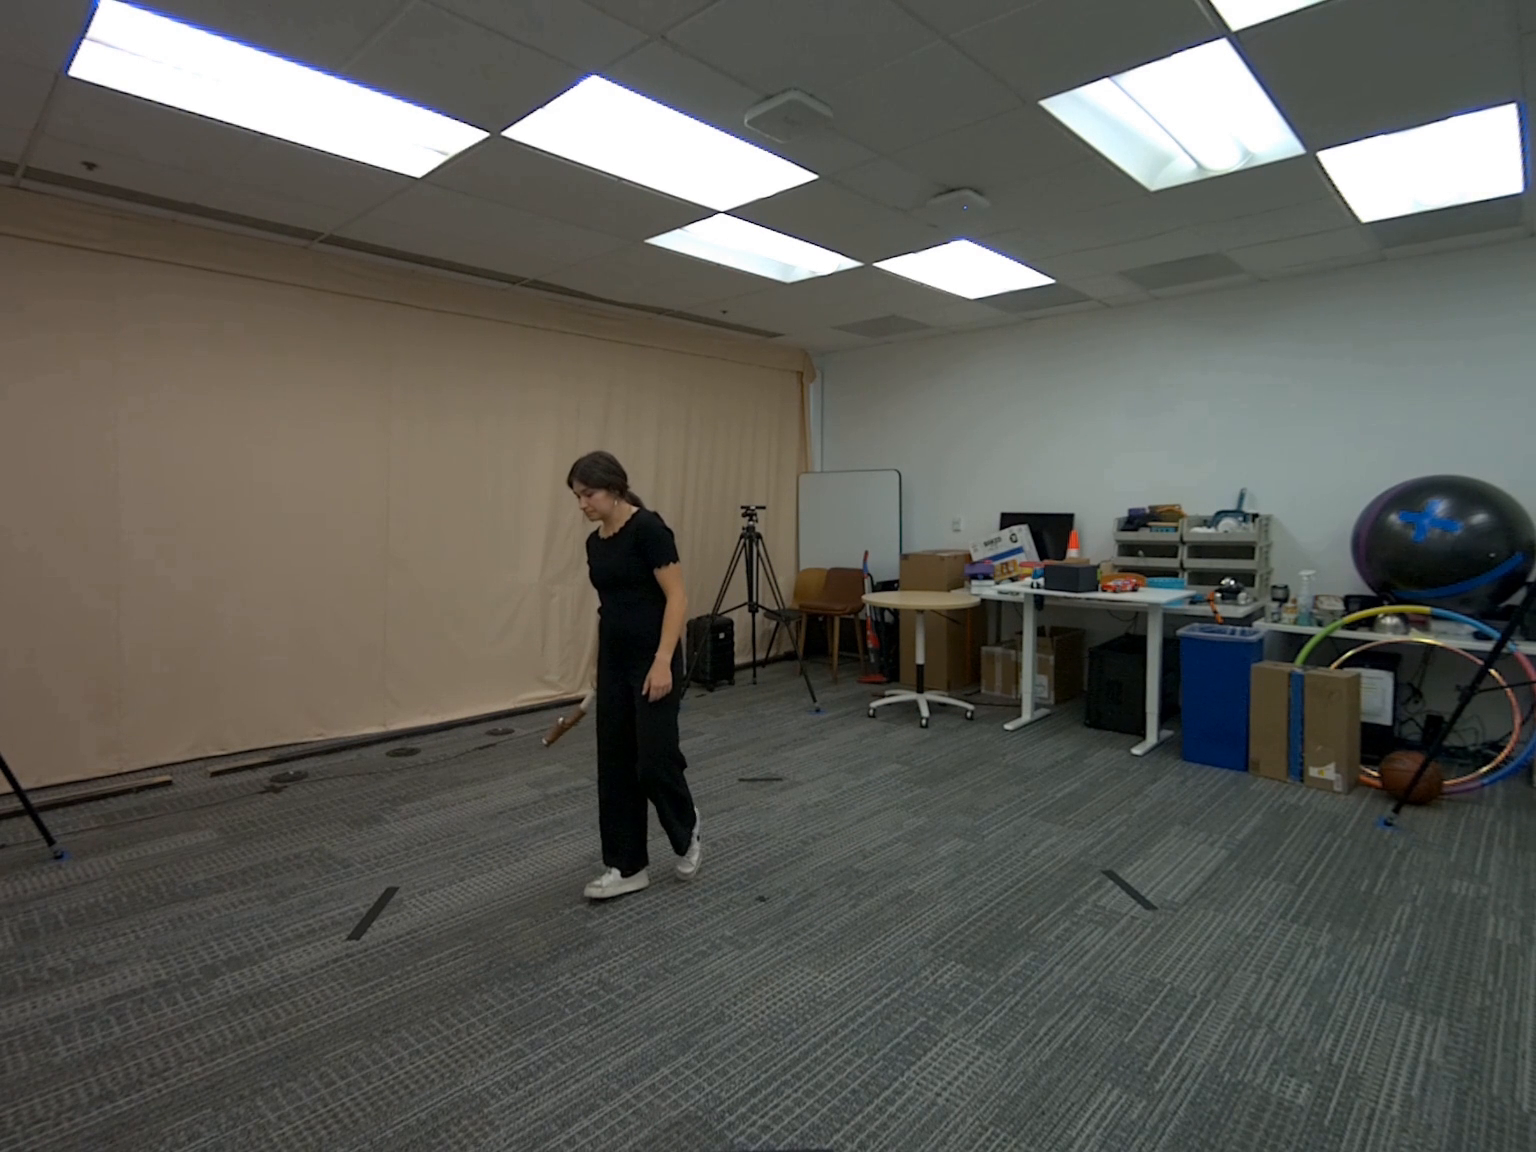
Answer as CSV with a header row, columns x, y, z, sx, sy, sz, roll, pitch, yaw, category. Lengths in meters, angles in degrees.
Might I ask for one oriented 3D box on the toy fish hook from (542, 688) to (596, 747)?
x,y,z,sx,sy,sz,roll,pitch,yaw,category
-0.666,0.521,3.319,0.217,0.505,0.050,51,-8,-35,toy fish hook
